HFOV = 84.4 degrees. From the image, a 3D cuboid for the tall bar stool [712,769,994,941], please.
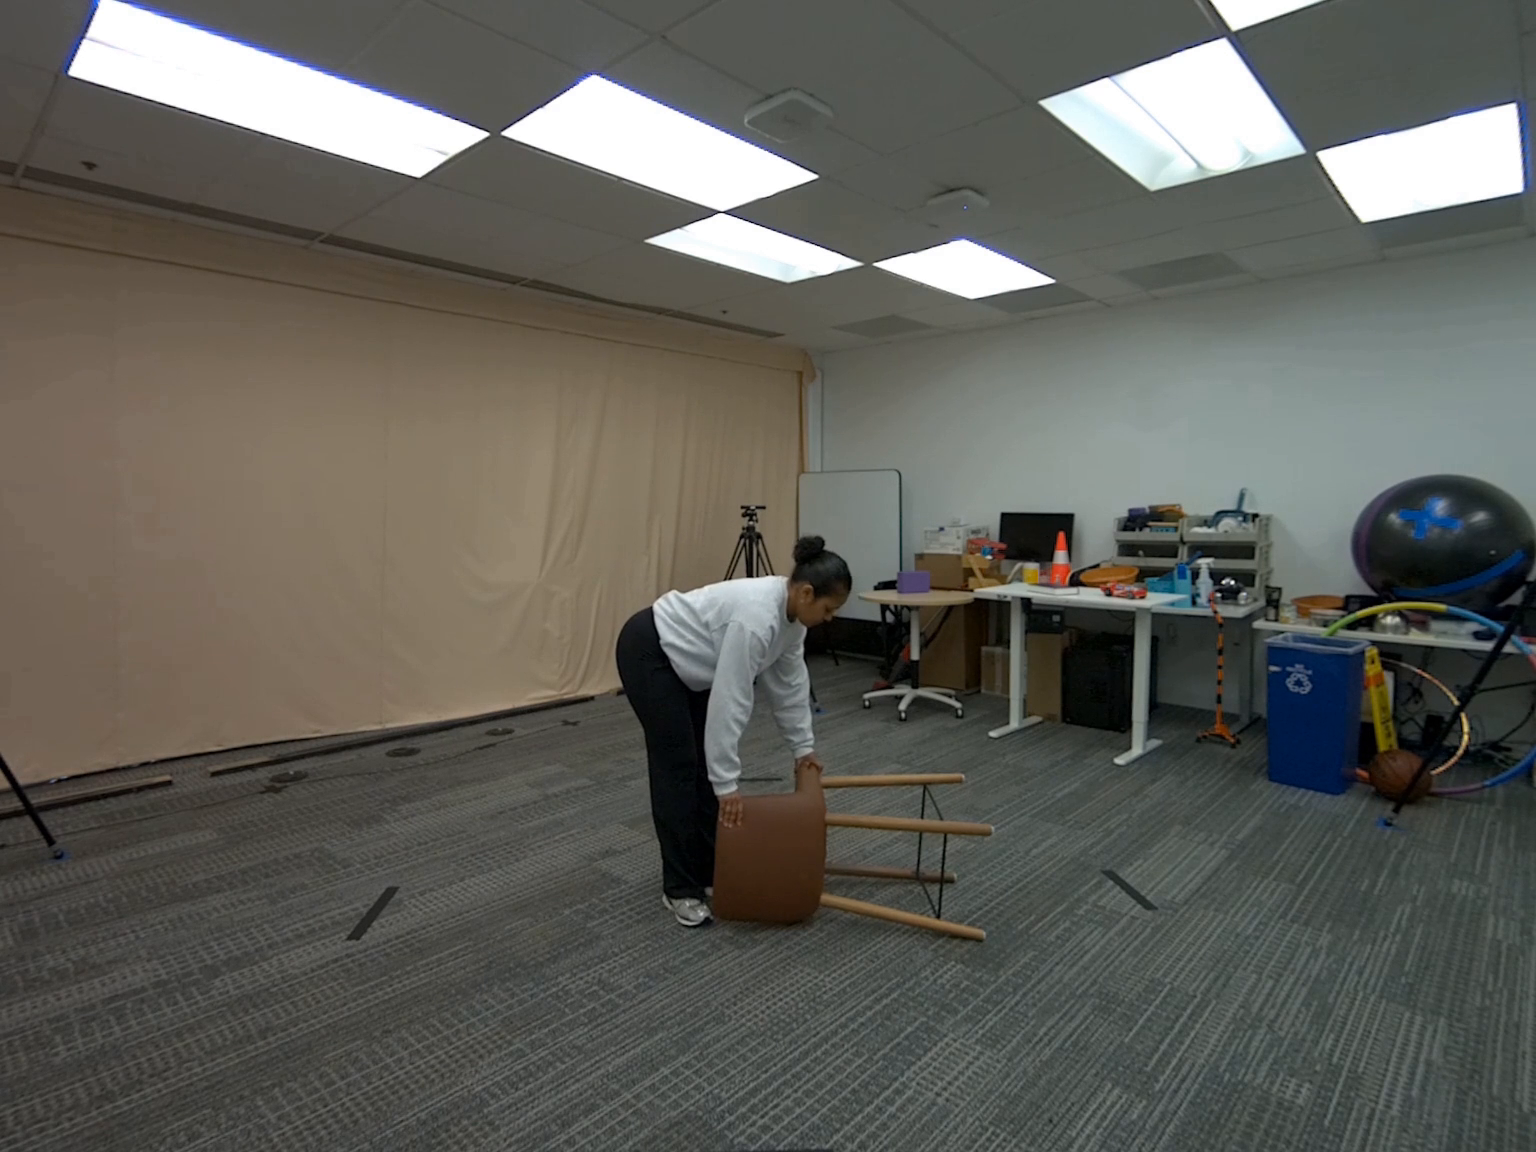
[{"bbox_3d":[0.271,0.923,2.902,0.891,0.455,0.469,3,6,0],"label":"tall bar stool"}]
